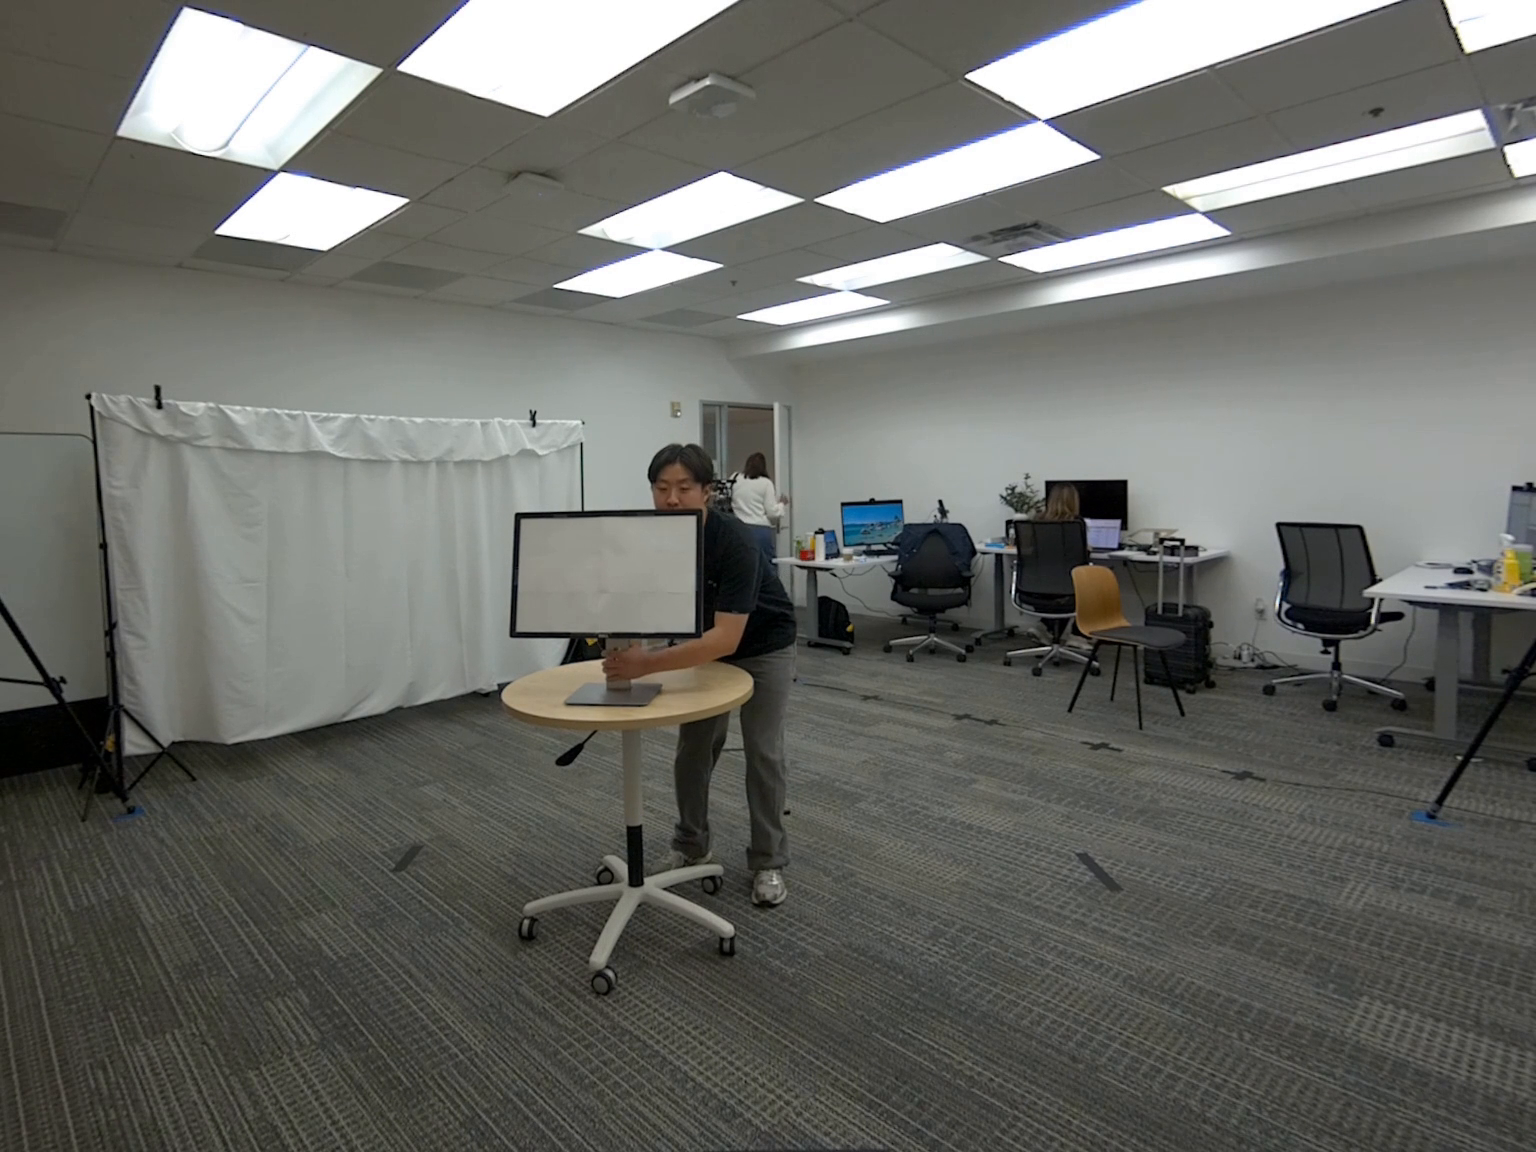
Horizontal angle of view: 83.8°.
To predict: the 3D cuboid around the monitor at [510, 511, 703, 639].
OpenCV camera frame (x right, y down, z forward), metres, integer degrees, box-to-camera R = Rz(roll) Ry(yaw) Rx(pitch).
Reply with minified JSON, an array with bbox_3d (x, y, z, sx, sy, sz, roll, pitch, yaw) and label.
[{"bbox_3d":[-0.447,0.094,2.455,0.568,0.562,0.221,-1,7,11],"label":"monitor"}]
